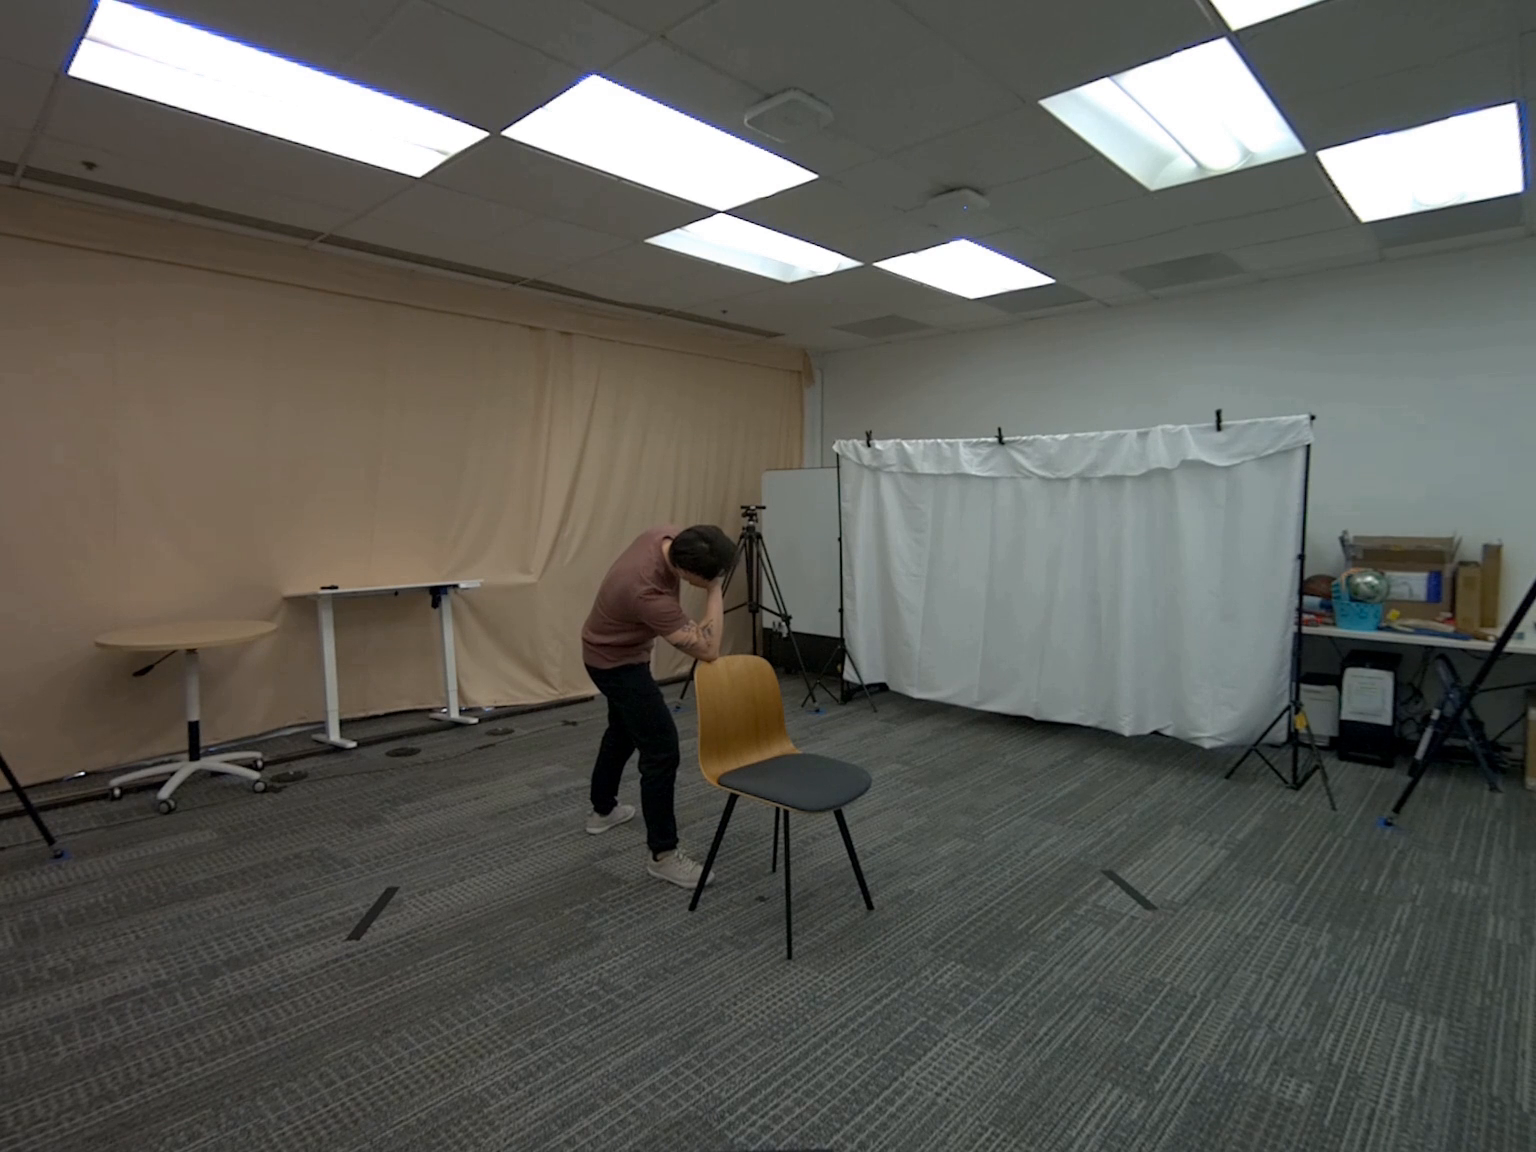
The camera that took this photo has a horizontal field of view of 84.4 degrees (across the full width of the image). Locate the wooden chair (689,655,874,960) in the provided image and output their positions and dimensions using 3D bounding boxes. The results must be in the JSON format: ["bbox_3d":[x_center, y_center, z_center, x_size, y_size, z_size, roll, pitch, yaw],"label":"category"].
[{"bbox_3d":[0.054,0.727,2.861,0.539,0.877,0.463,-3,0,43],"label":"wooden chair"}]
